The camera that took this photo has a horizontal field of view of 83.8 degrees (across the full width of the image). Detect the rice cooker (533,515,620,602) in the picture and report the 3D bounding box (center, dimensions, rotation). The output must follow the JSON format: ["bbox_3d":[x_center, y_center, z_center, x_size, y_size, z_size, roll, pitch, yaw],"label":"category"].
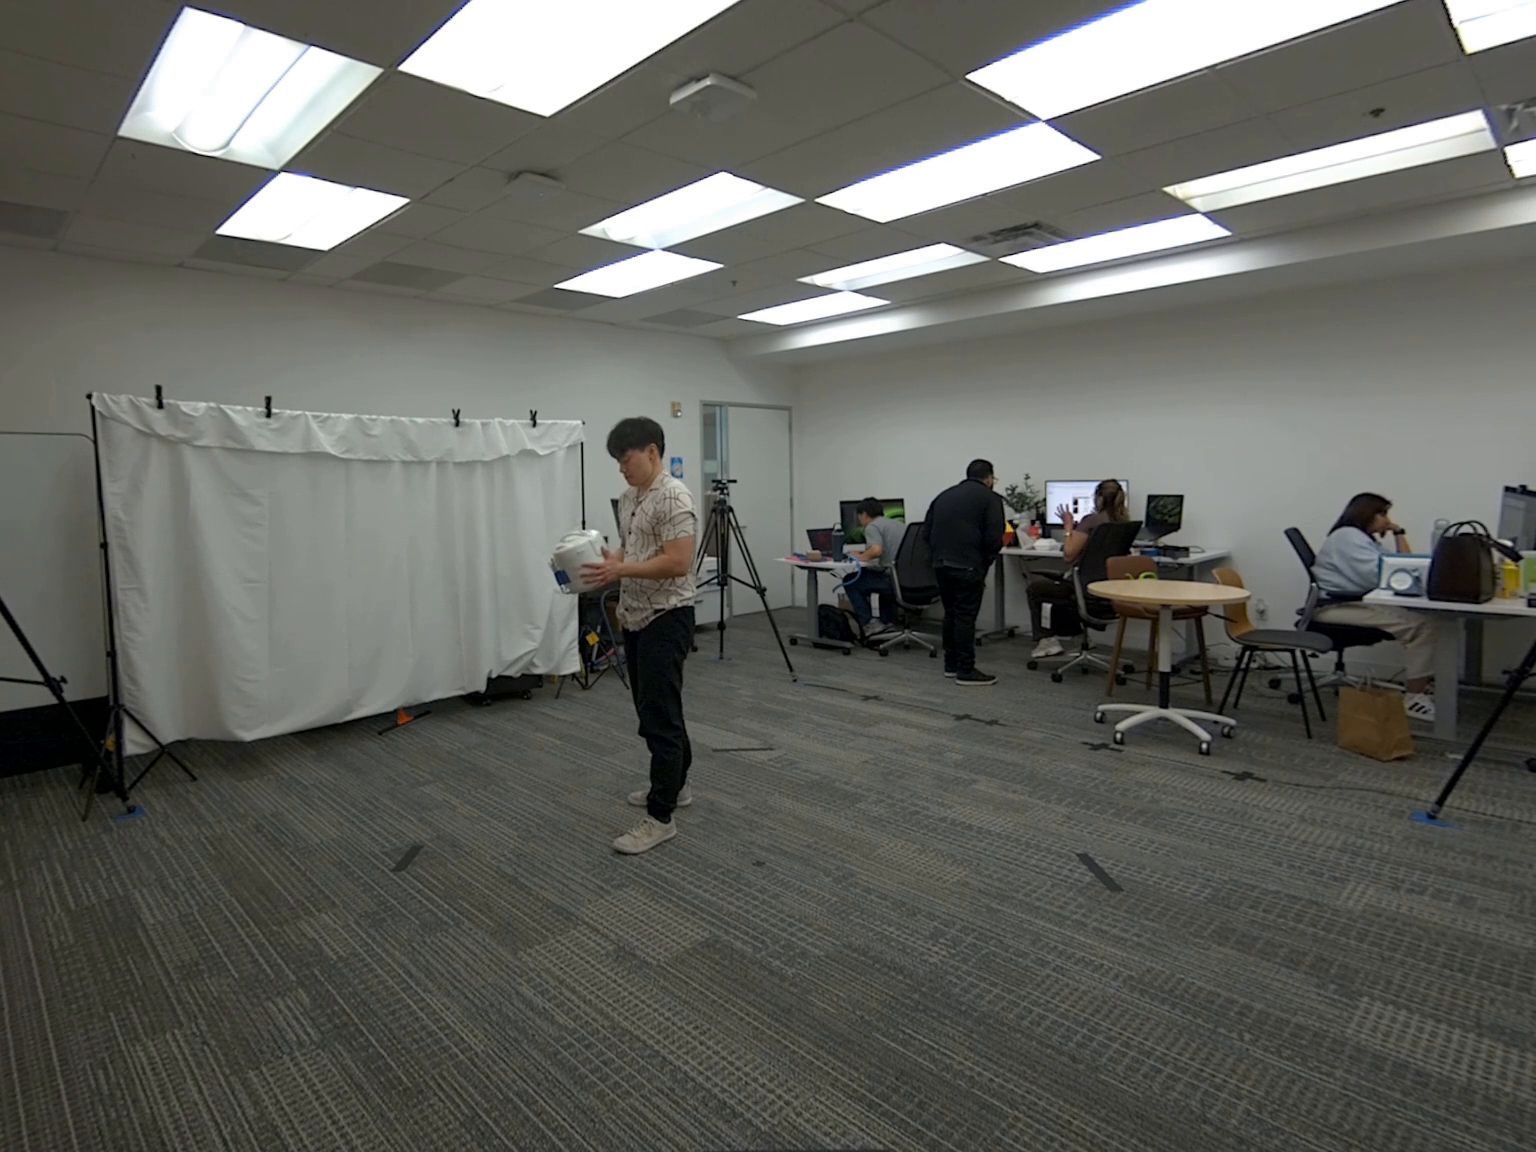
[{"bbox_3d":[-0.727,-0.069,3.349,0.225,0.229,0.216,-12,17,40],"label":"rice cooker"}]
